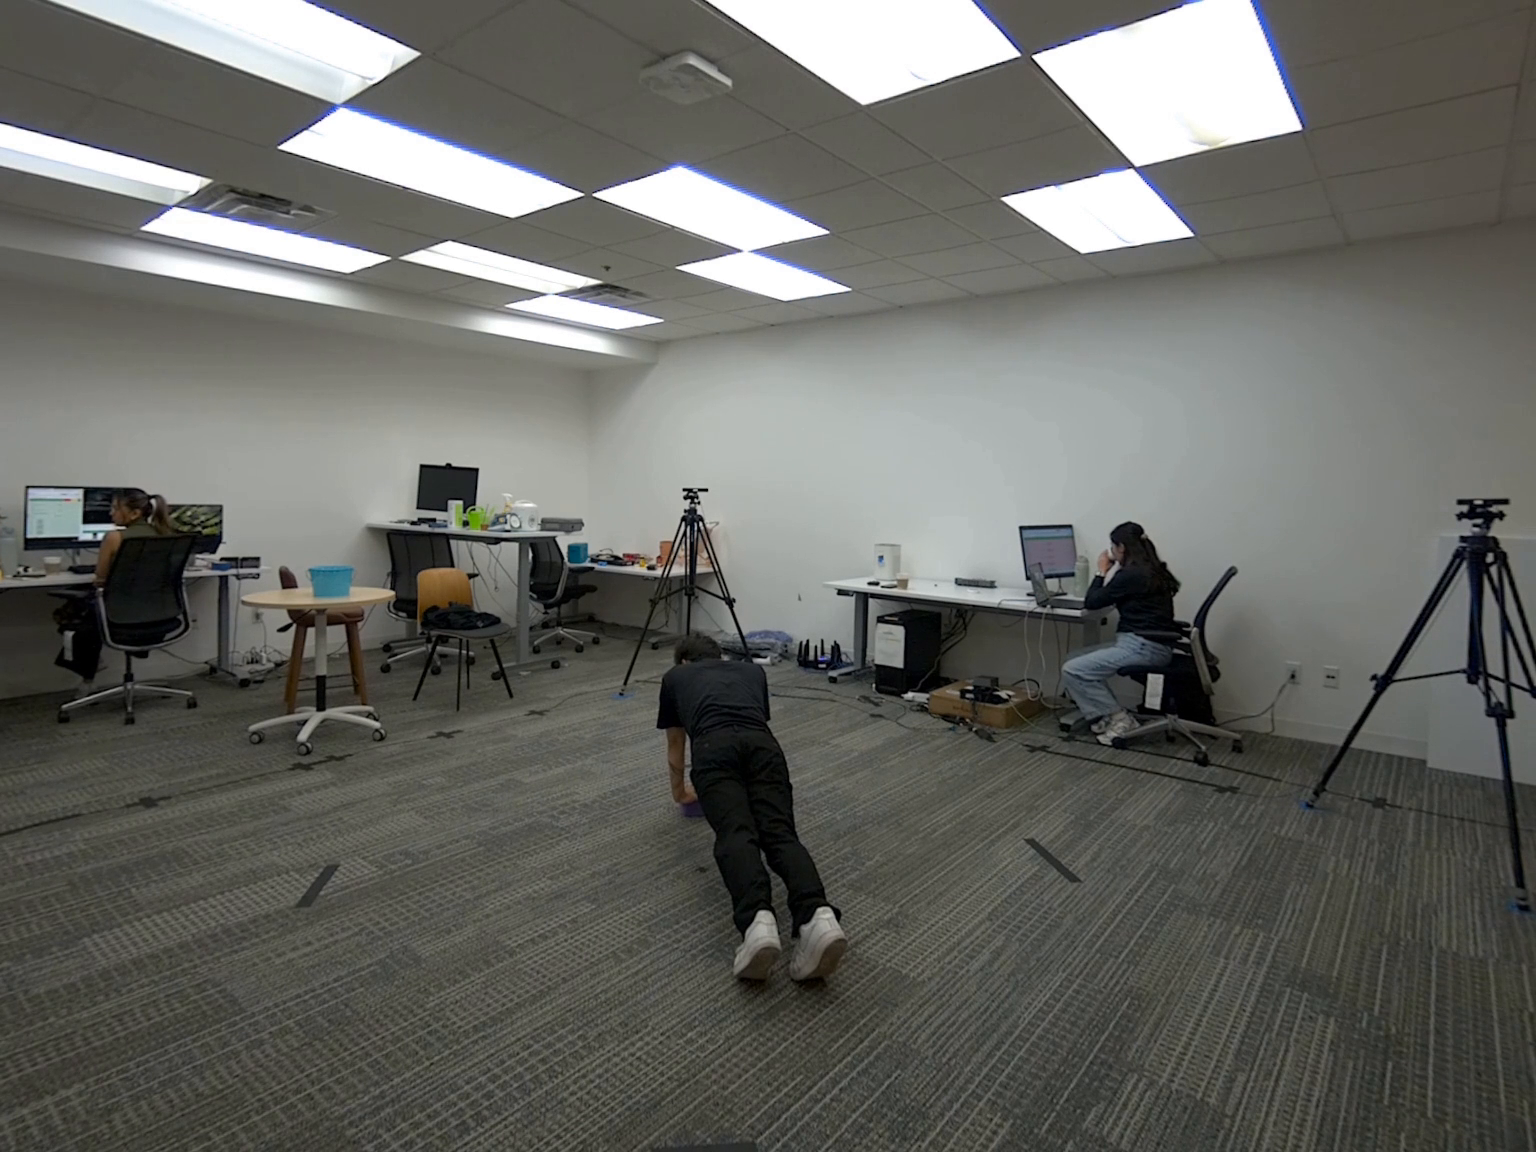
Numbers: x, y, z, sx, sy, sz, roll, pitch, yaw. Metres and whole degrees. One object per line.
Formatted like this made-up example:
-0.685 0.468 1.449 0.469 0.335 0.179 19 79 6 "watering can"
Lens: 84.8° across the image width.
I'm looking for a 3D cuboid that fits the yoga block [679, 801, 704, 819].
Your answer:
-0.268 0.968 3.686 0.226 0.076 0.151 -2 5 -12 "yoga block"
